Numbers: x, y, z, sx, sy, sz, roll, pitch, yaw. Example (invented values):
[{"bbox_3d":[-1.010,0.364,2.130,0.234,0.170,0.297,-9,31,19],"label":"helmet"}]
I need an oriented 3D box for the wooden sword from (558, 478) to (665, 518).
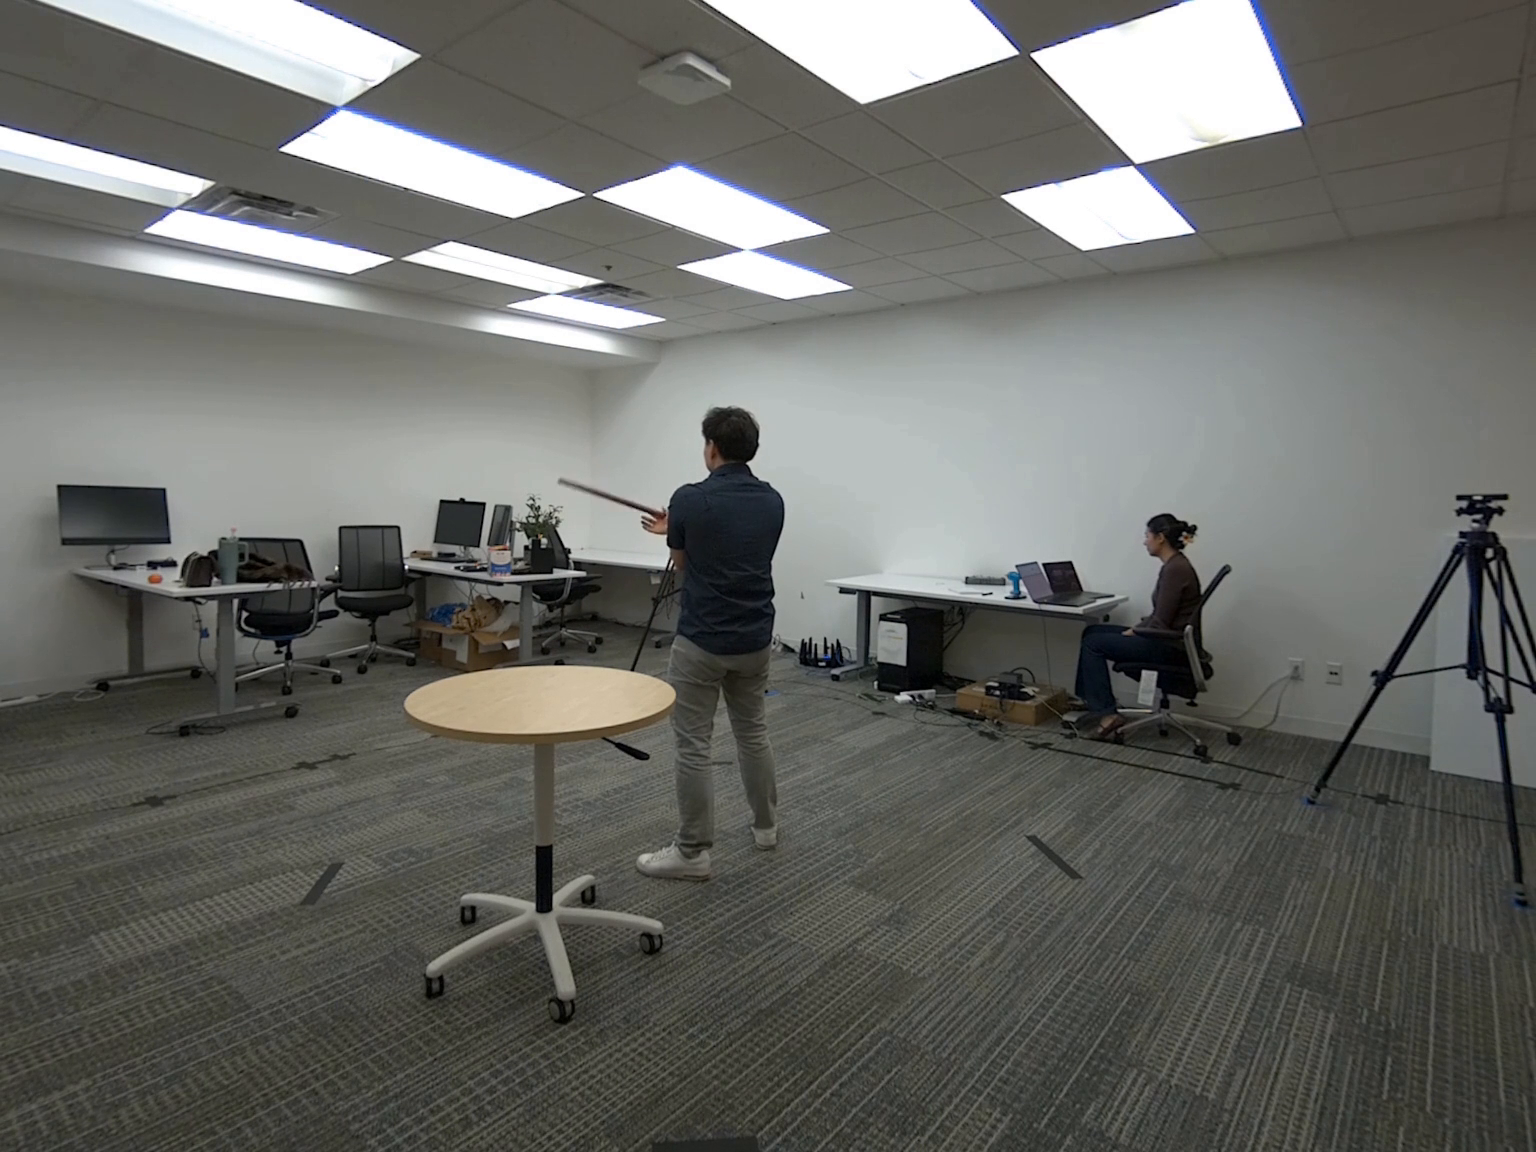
[{"bbox_3d":[-0.421,-0.239,3.476,0.987,0.024,0.053,18,-2,-37],"label":"wooden sword"}]
